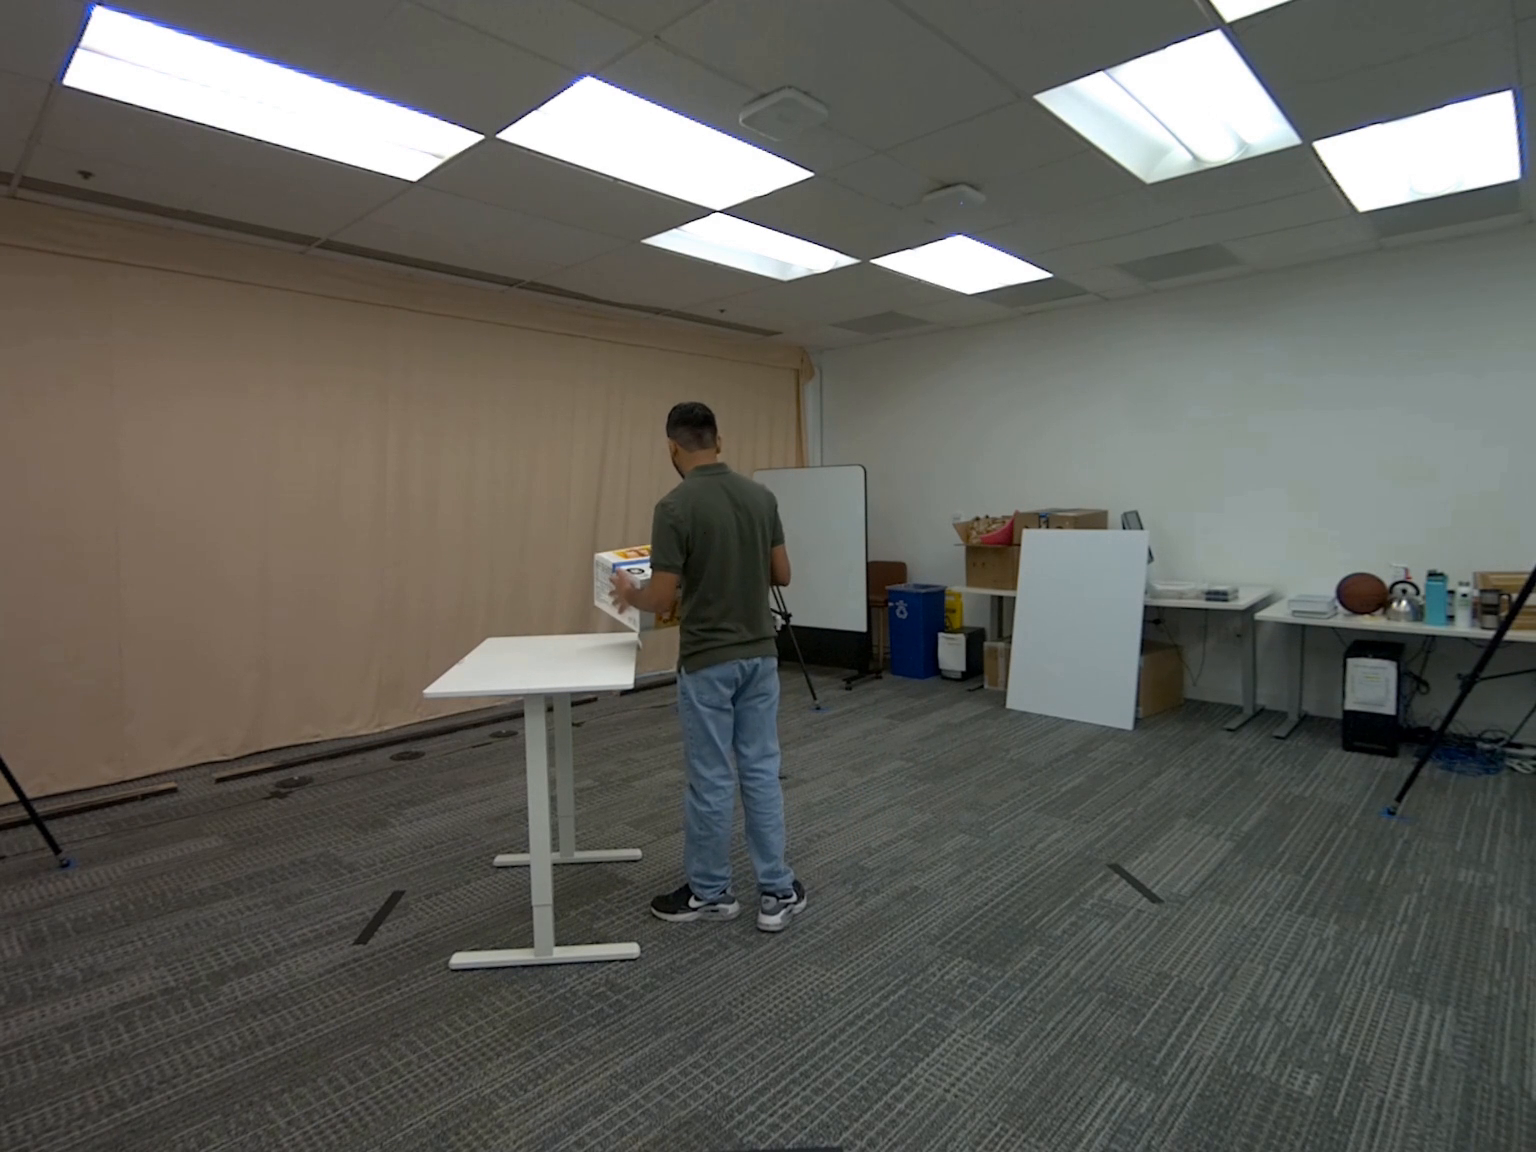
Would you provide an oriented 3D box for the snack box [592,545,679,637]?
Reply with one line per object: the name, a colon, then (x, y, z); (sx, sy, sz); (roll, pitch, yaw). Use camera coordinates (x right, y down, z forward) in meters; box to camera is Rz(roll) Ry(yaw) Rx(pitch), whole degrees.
snack box: (-0.379, 0.030, 3.093); (0.394, 0.204, 0.353); (-11, 21, -35)
